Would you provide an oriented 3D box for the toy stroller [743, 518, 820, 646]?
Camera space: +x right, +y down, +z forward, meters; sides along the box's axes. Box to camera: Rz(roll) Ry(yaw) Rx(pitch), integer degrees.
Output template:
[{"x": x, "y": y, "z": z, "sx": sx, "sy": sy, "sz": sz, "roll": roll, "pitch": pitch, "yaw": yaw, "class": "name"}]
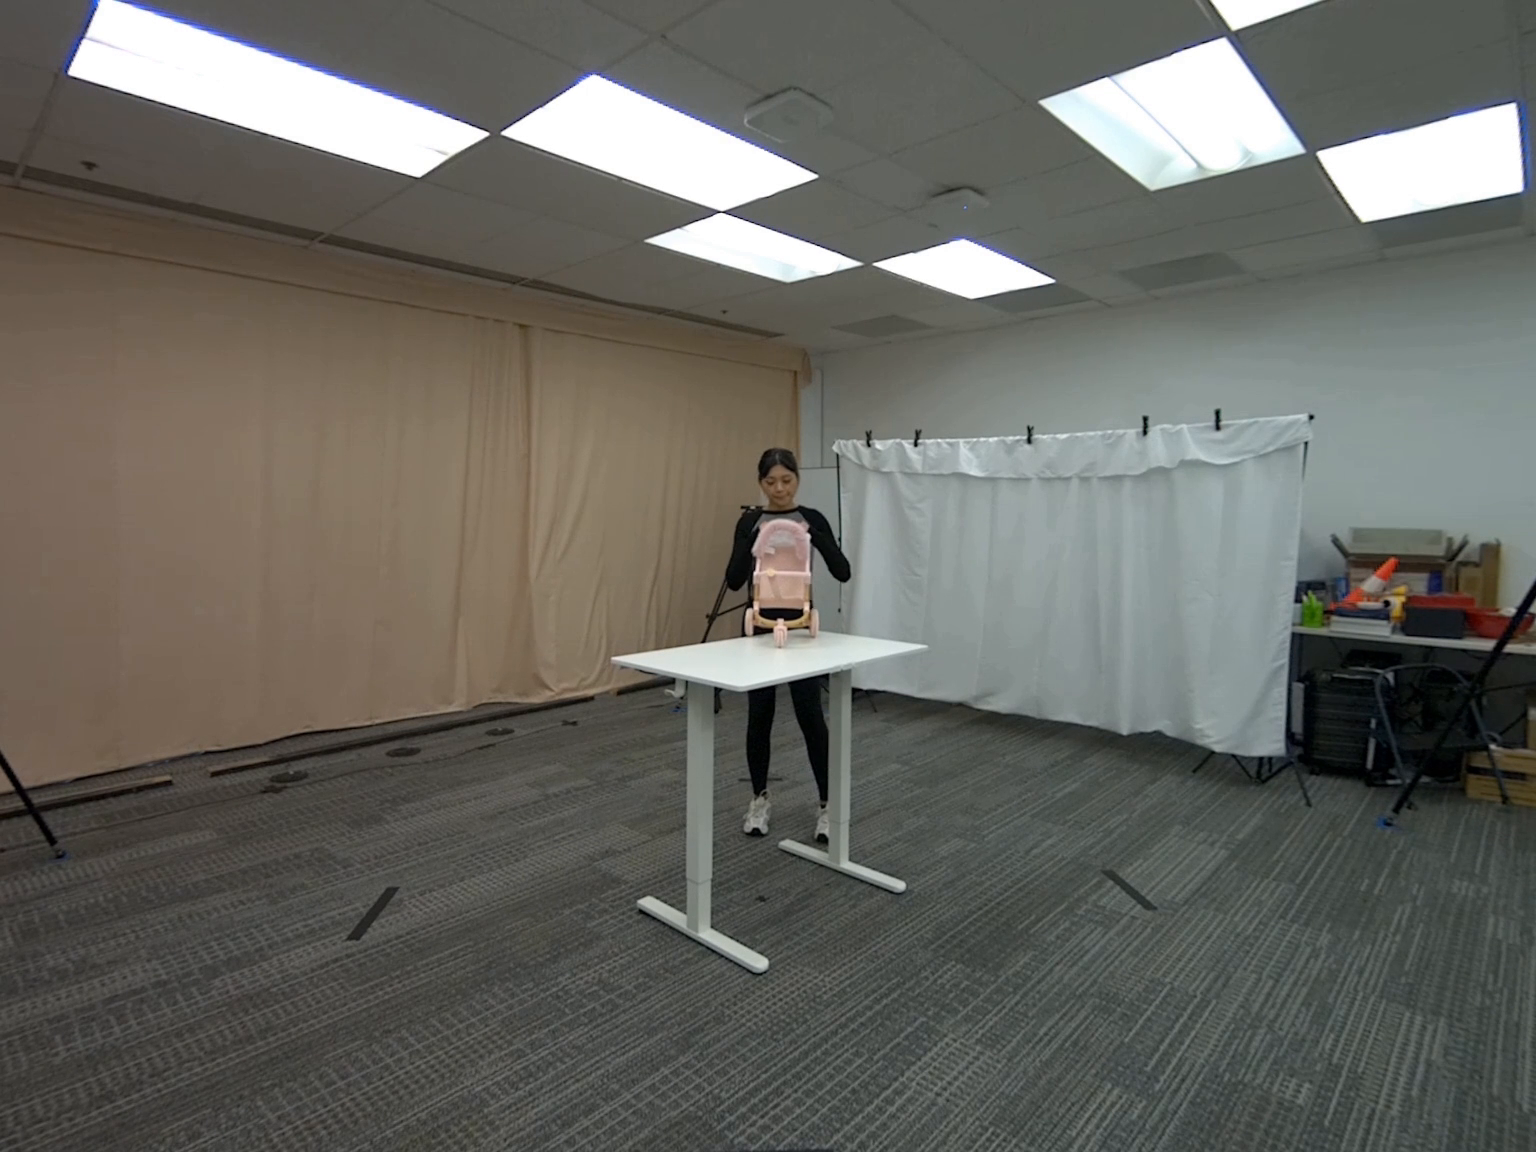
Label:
[{"x": 0.049, "y": 0.021, "z": 3.206, "sx": 0.284, "sy": 0.539, "sz": 0.336, "roll": 0, "pitch": -13, "yaw": 6, "class": "toy stroller"}]
